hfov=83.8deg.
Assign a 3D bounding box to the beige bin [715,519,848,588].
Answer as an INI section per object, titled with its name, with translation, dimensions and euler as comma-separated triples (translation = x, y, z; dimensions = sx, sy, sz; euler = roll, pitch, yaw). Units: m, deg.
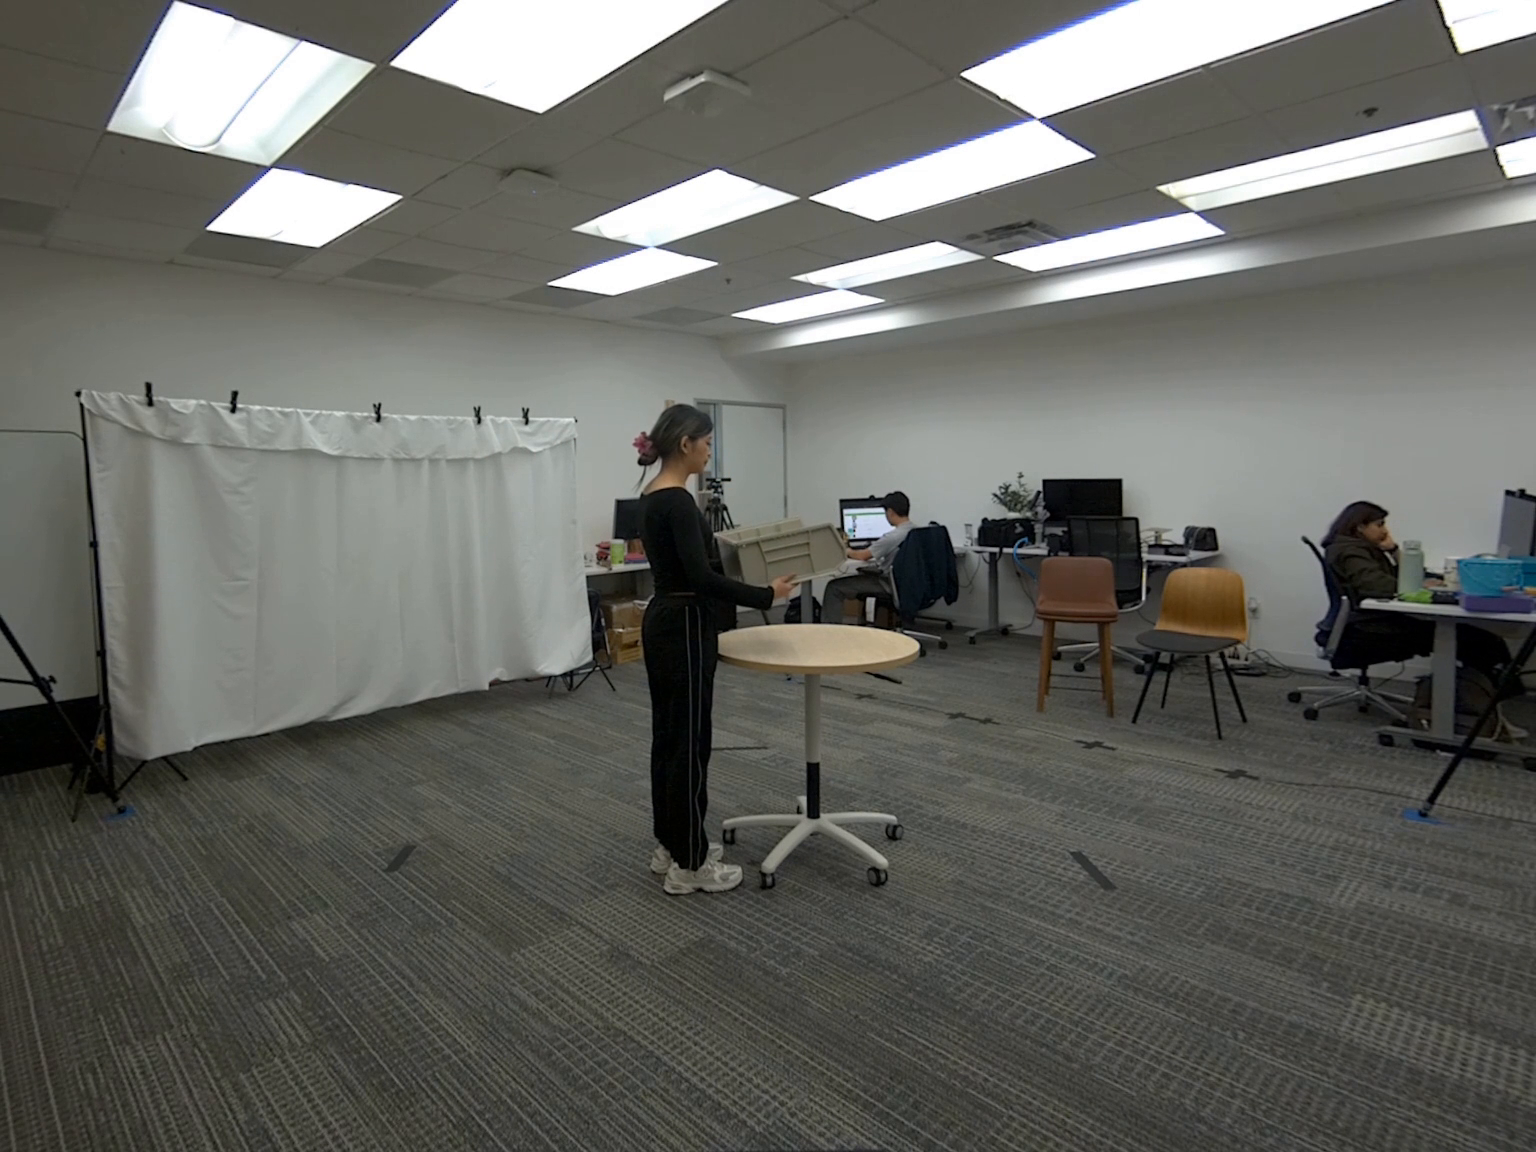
[beige bin]
translation = 0.040, -0.085, 3.077
dimensions = 0.374, 0.187, 0.429
euler = -13, 10, -11
